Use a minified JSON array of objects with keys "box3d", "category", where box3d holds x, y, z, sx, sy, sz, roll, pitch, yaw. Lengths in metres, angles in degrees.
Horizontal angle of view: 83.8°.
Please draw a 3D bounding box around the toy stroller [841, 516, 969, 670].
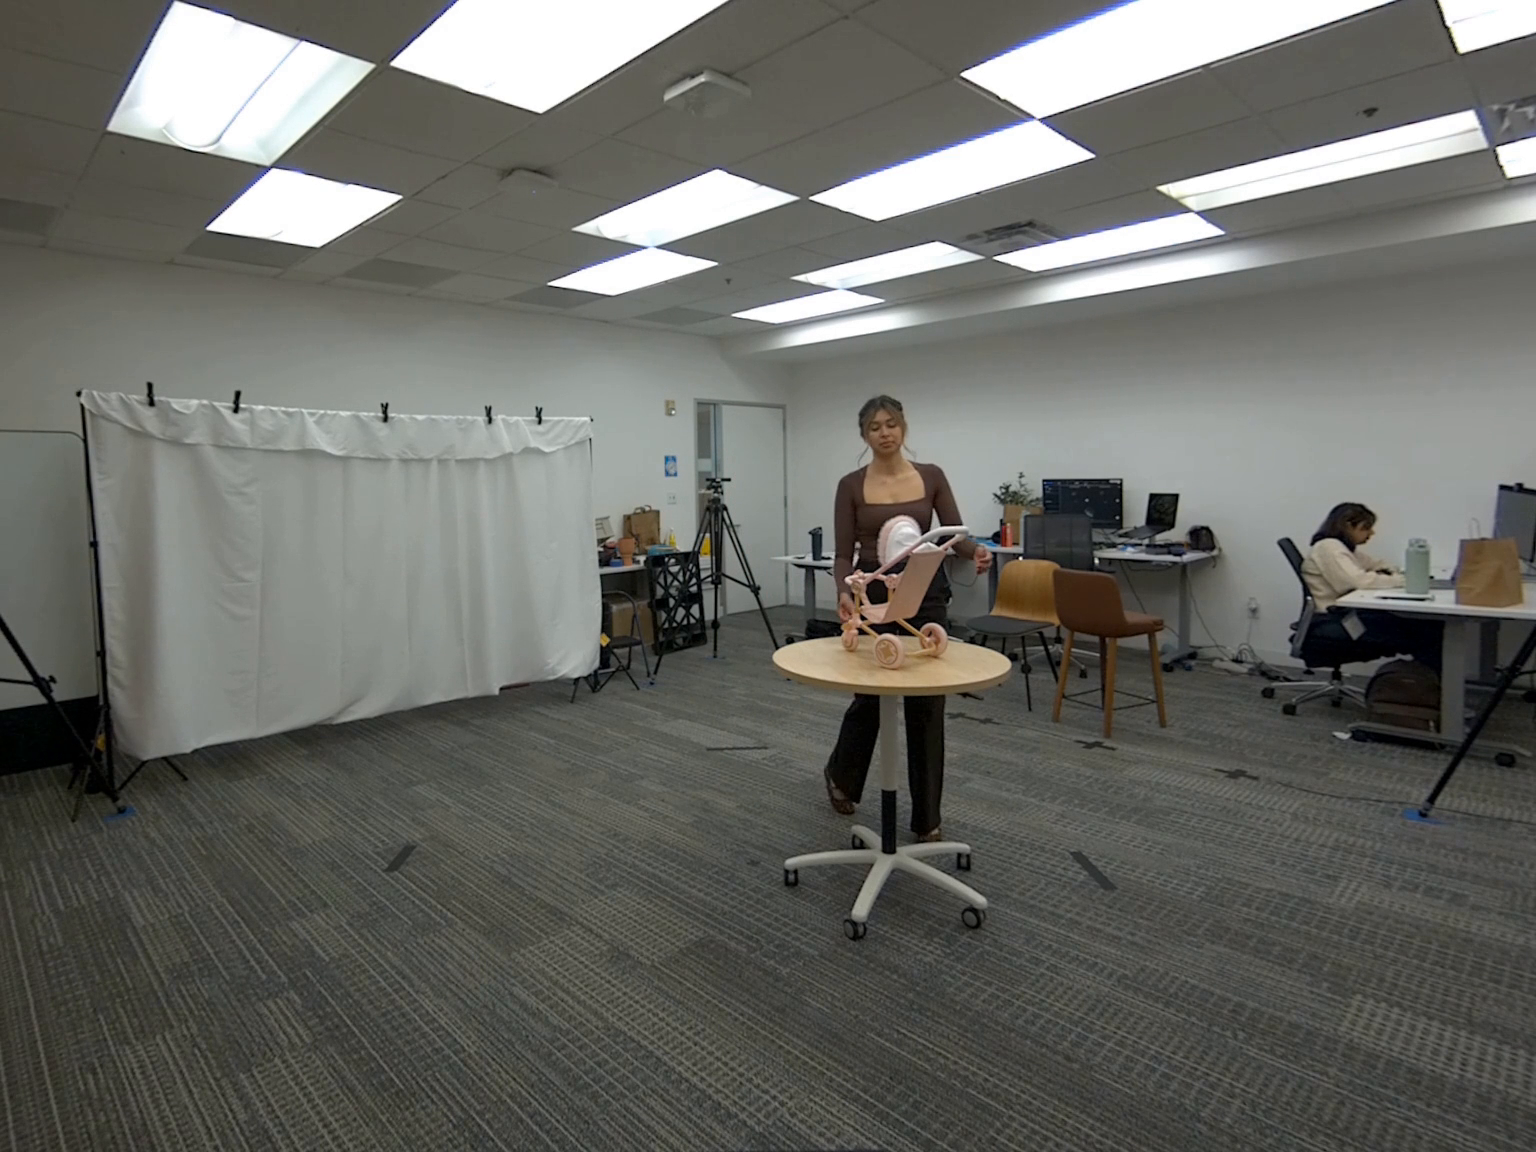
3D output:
[{"box3d":[0.420,0.050,2.773,0.274,0.529,0.354,-4,20,-40],"category":"toy stroller"}]
